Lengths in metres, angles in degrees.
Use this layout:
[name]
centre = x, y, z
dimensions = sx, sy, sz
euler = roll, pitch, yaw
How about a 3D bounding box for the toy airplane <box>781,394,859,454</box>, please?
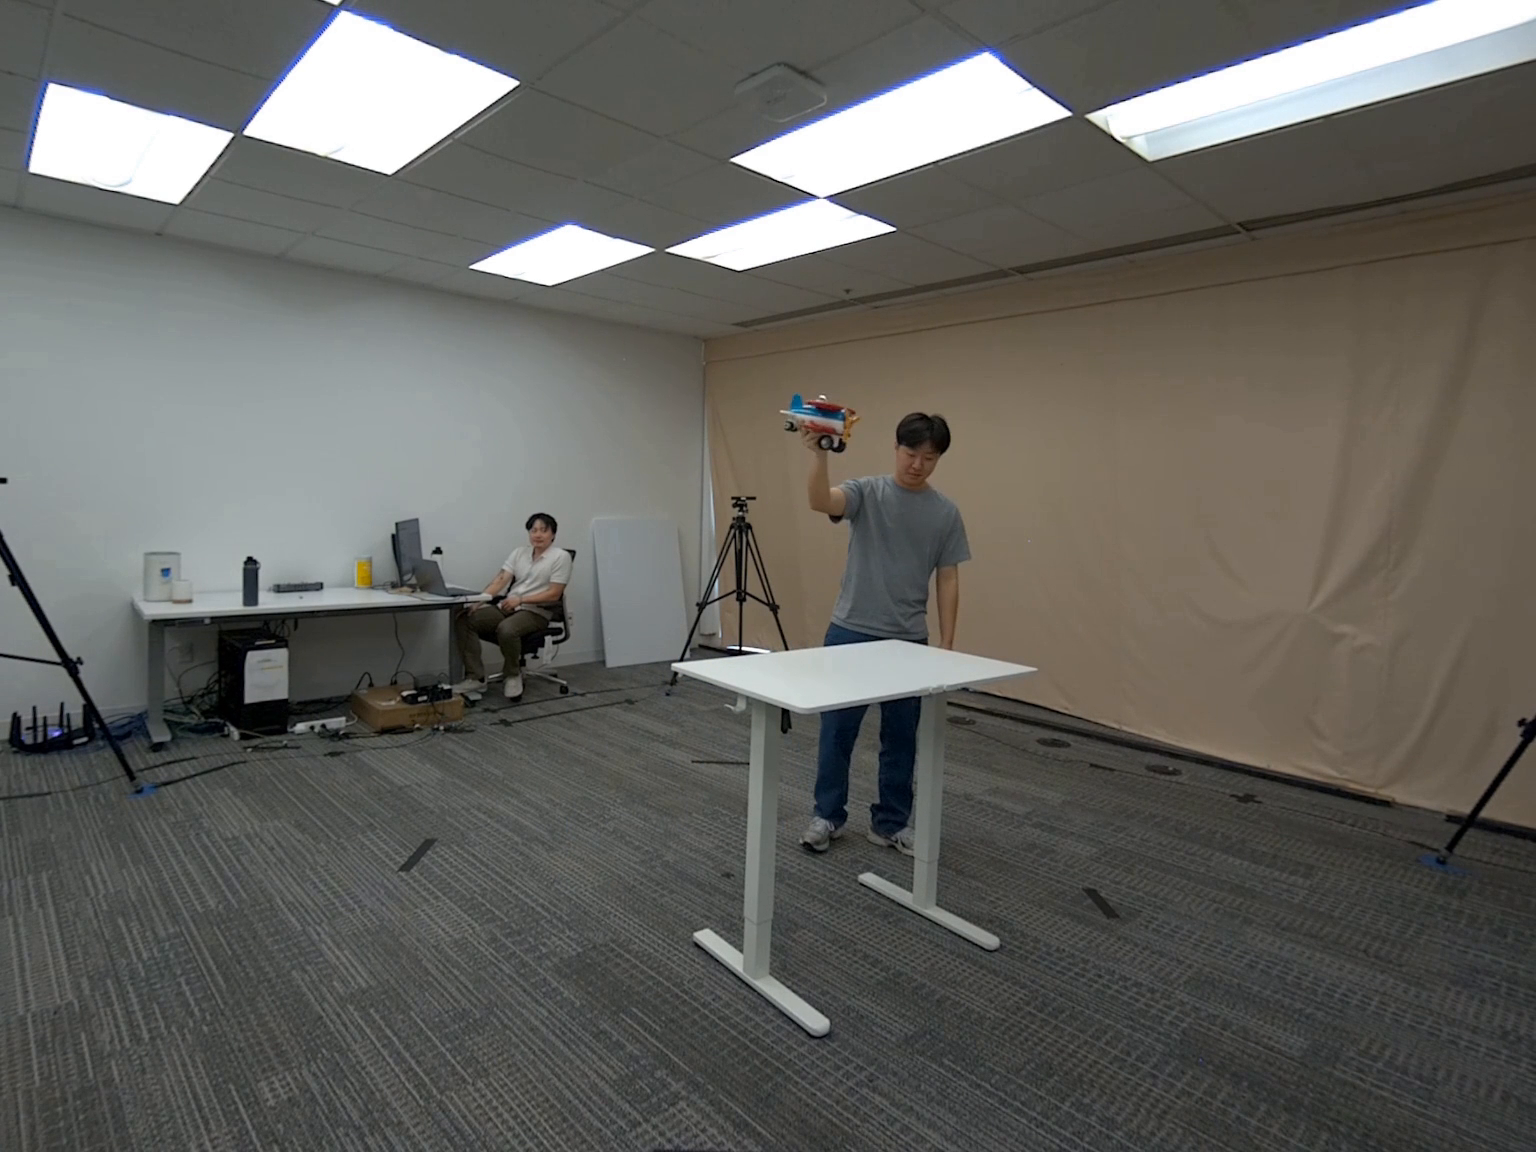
[toy airplane]
centre = 0.161, -0.529, 2.871
dimensions = 0.260, 0.155, 0.251
euler = 24, 16, 3
